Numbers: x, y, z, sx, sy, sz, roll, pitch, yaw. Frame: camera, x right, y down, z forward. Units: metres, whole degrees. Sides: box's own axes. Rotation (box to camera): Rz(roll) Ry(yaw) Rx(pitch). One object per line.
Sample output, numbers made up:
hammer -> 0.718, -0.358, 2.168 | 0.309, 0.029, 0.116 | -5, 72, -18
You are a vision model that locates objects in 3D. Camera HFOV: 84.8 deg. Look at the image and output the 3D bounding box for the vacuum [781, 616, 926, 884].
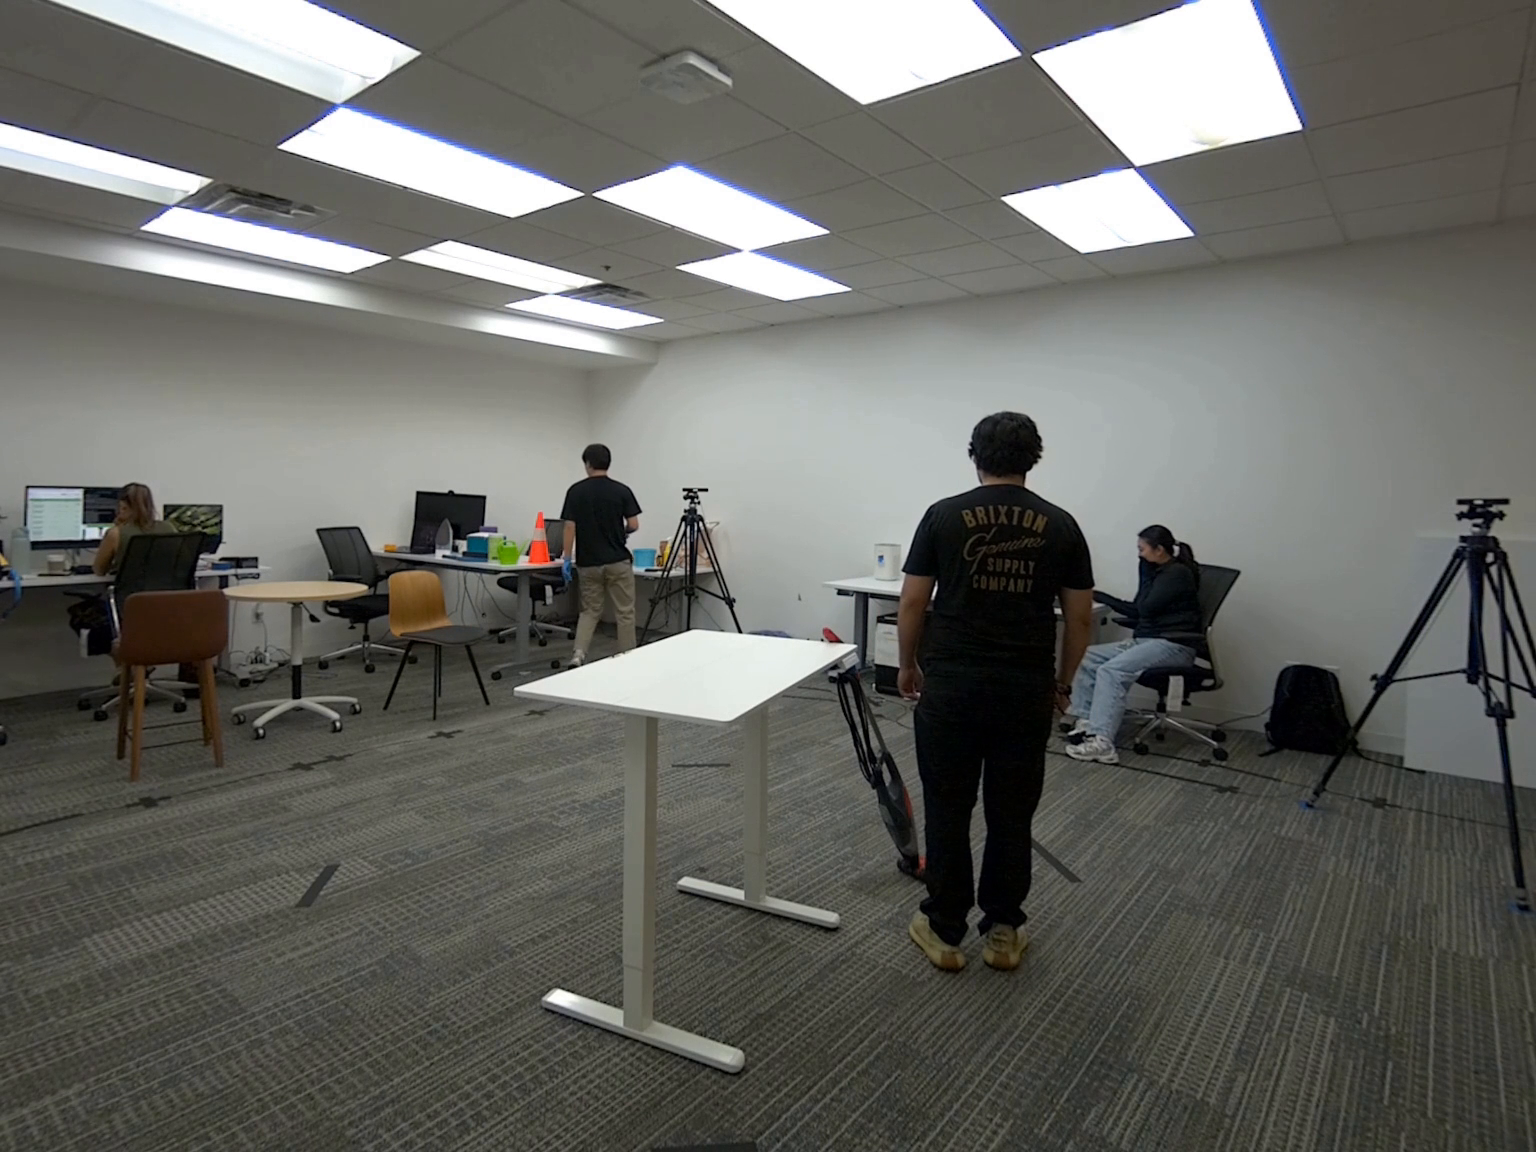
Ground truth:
vacuum -> 0.368, 0.624, 2.959 | 0.260, 1.025, 0.143 | -2, 28, 46
